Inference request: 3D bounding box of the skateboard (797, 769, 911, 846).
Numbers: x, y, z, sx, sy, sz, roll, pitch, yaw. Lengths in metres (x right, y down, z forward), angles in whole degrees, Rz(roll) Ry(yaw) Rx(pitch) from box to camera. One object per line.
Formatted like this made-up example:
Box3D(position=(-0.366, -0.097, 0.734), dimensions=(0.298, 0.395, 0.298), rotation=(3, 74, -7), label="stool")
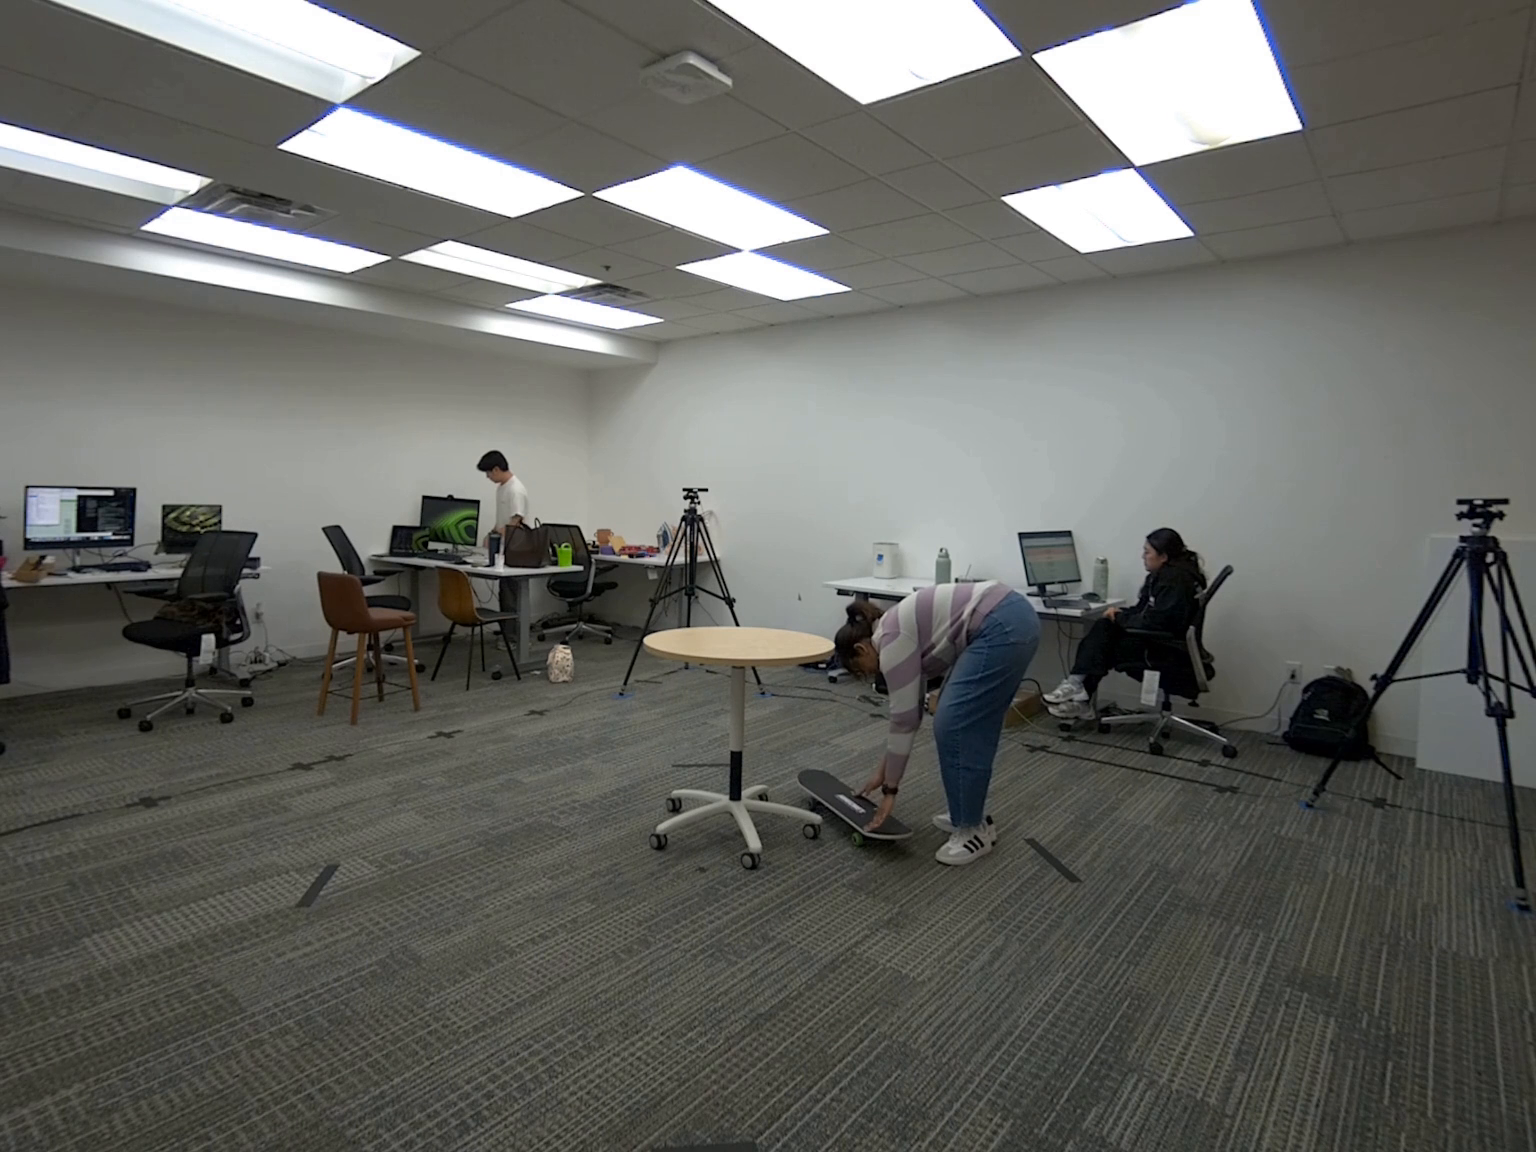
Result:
Box3D(position=(0.331, 0.979, 3.559), dimensions=(0.189, 0.110, 0.806), rotation=(-2, 7, -22), label="skateboard")
